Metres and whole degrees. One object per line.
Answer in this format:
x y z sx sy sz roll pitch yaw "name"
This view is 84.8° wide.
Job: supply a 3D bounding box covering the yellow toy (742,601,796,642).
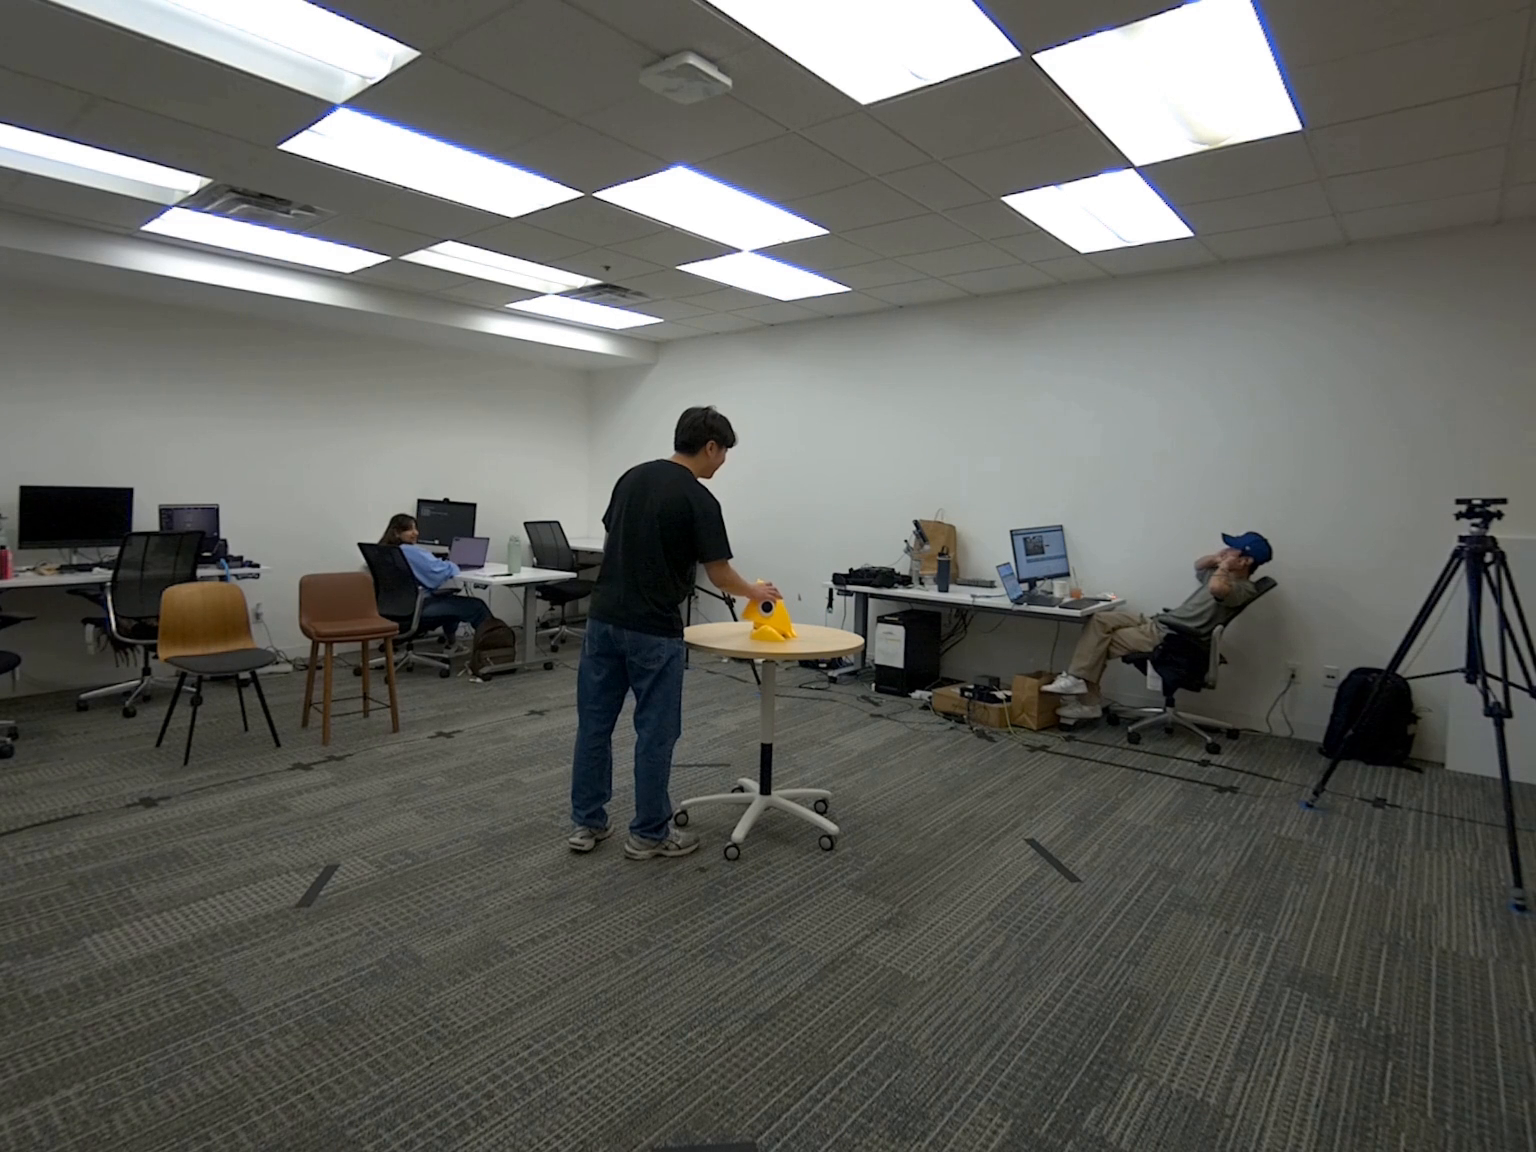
0.004 0.134 3.447 0.198 0.230 0.199 2 3 28 "yellow toy"
